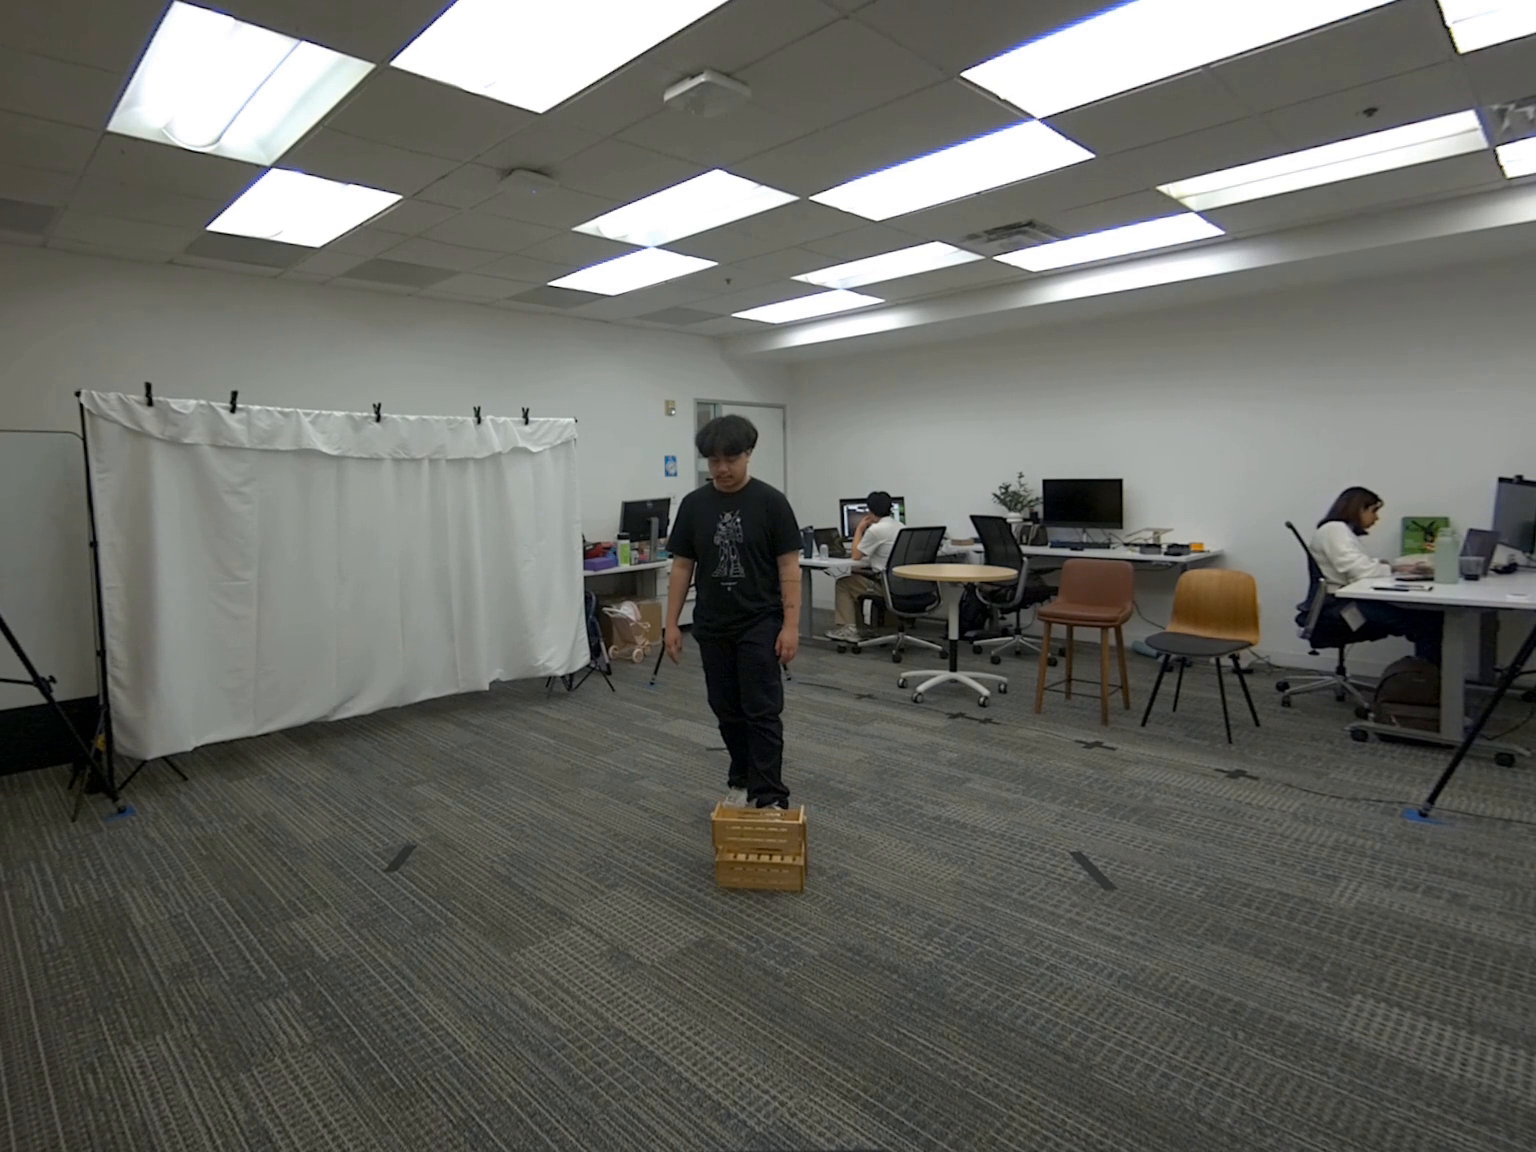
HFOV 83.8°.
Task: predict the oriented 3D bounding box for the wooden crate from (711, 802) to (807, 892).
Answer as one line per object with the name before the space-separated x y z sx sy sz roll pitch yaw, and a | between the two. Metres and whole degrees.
wooden crate | -0.025 0.925 3.005 0.327 0.272 0.301 0 6 6
